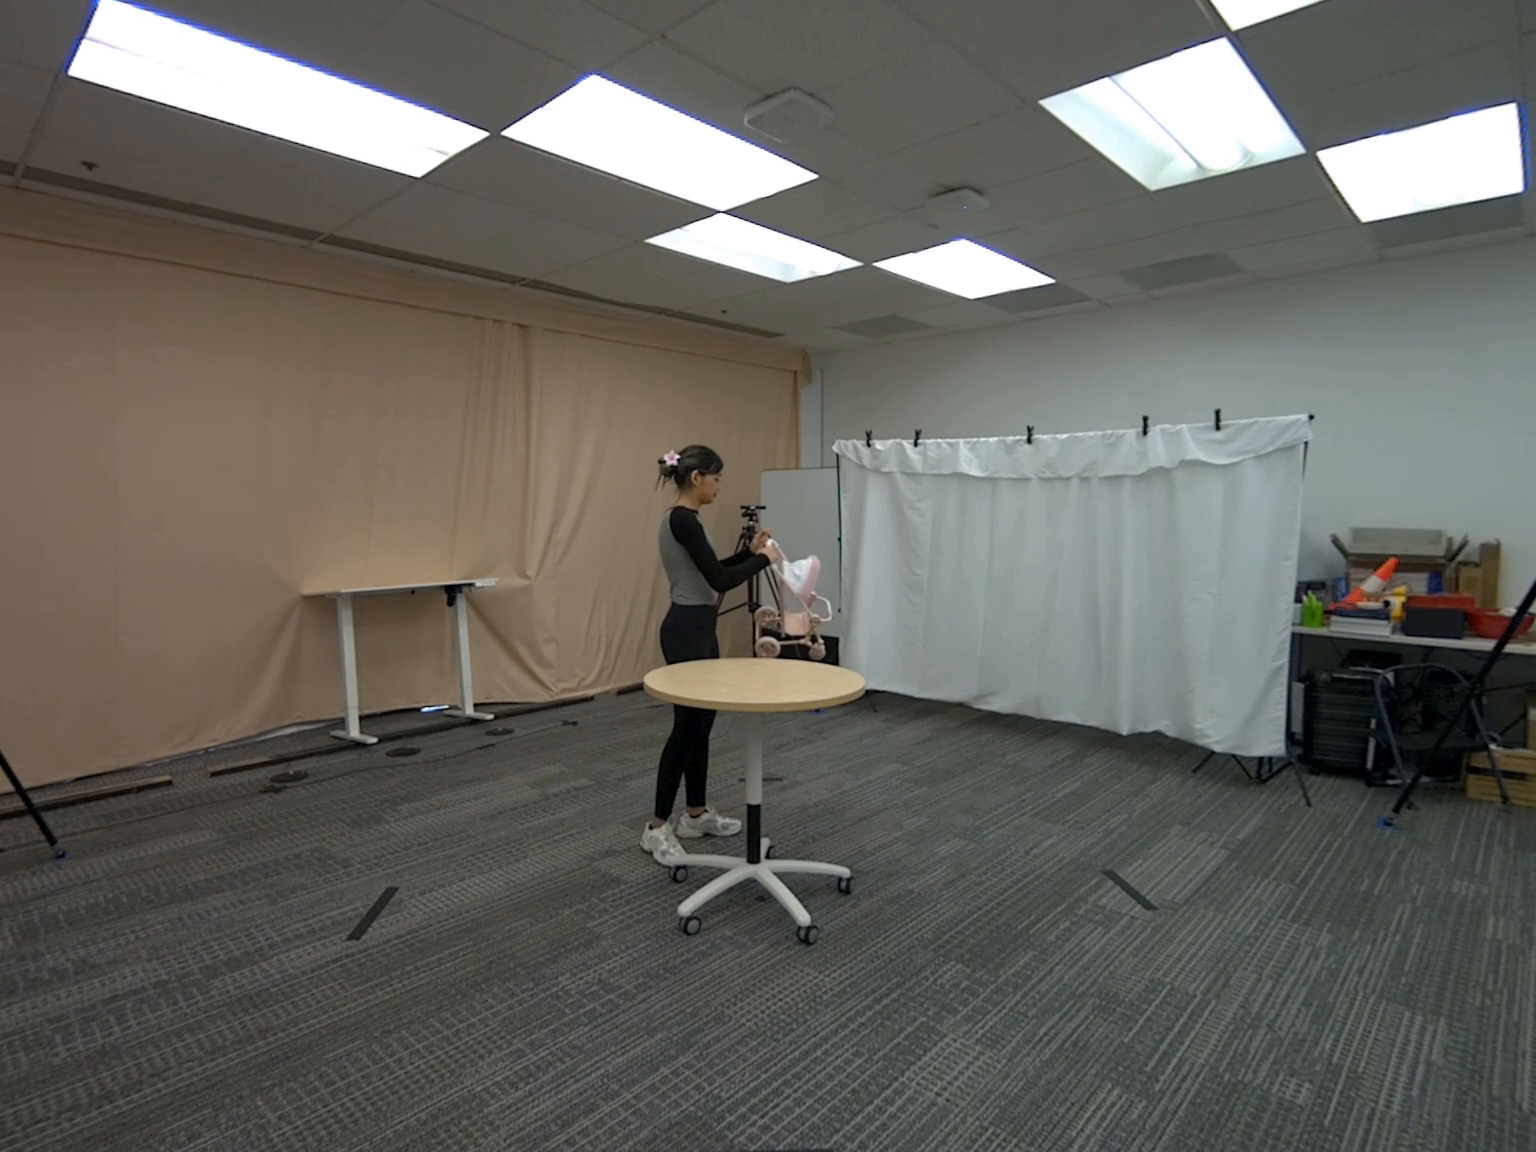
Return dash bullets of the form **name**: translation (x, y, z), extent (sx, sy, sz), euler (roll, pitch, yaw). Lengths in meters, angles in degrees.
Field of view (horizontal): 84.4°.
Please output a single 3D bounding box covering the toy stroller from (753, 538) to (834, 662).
- **toy stroller**: translation (0.129, 0.126, 3.652), extent (0.342, 0.529, 0.284), euler (9, 27, 0)
